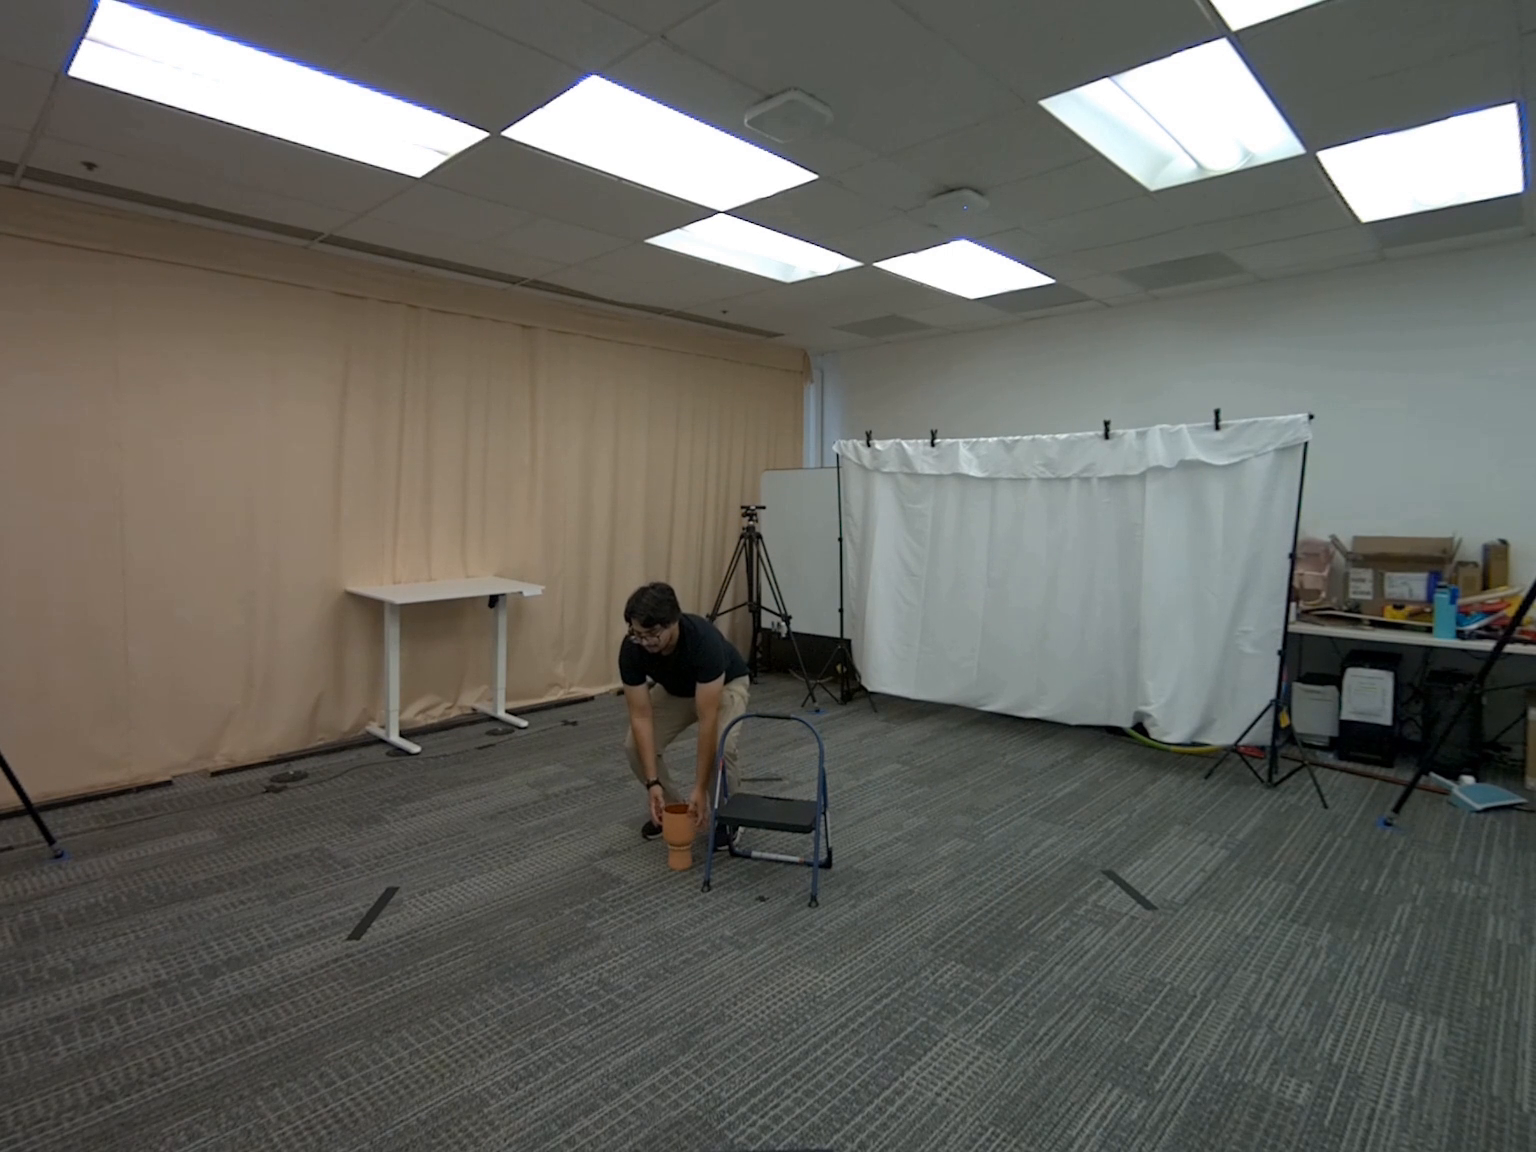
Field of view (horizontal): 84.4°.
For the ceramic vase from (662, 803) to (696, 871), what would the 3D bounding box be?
[{"bbox_3d":[-0.340,1.016,3.273,0.130,0.219,0.164,-1,3,-37],"label":"ceramic vase"}]
